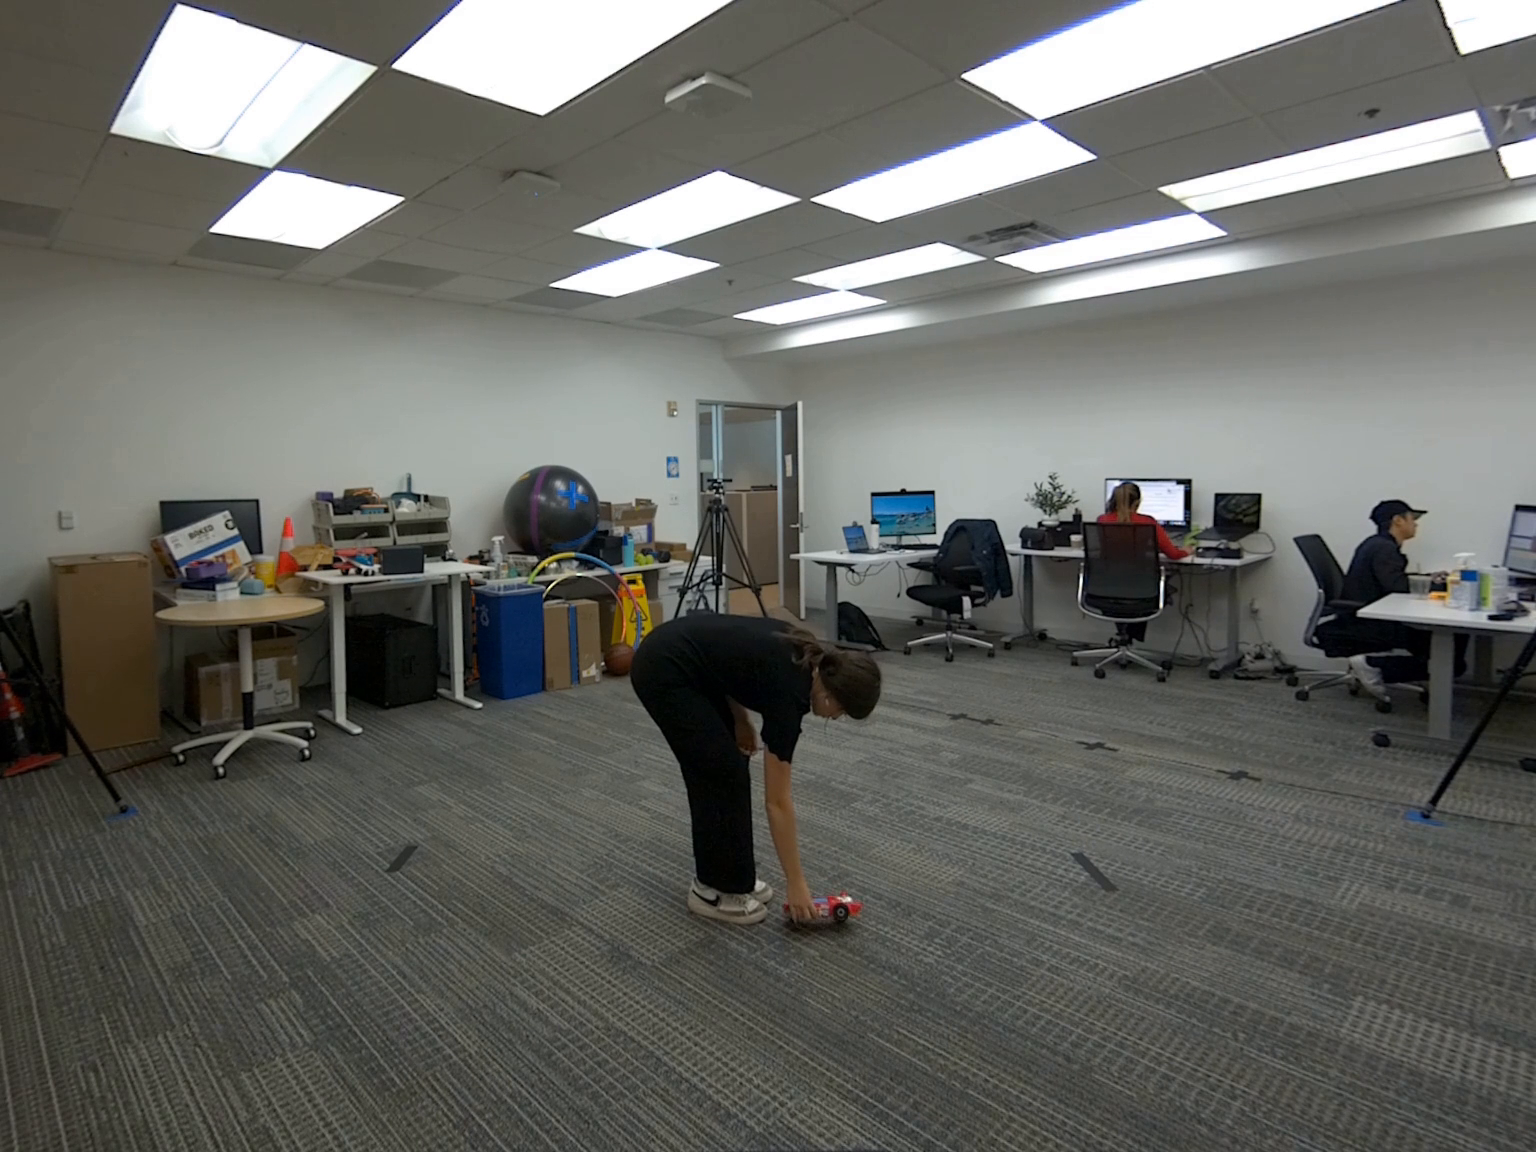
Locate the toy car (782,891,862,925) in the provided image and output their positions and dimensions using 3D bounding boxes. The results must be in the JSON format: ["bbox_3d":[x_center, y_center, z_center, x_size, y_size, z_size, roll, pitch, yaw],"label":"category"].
[{"bbox_3d":[0.174,1.036,2.656,0.255,0.085,0.127,-12,-27,1],"label":"toy car"}]
